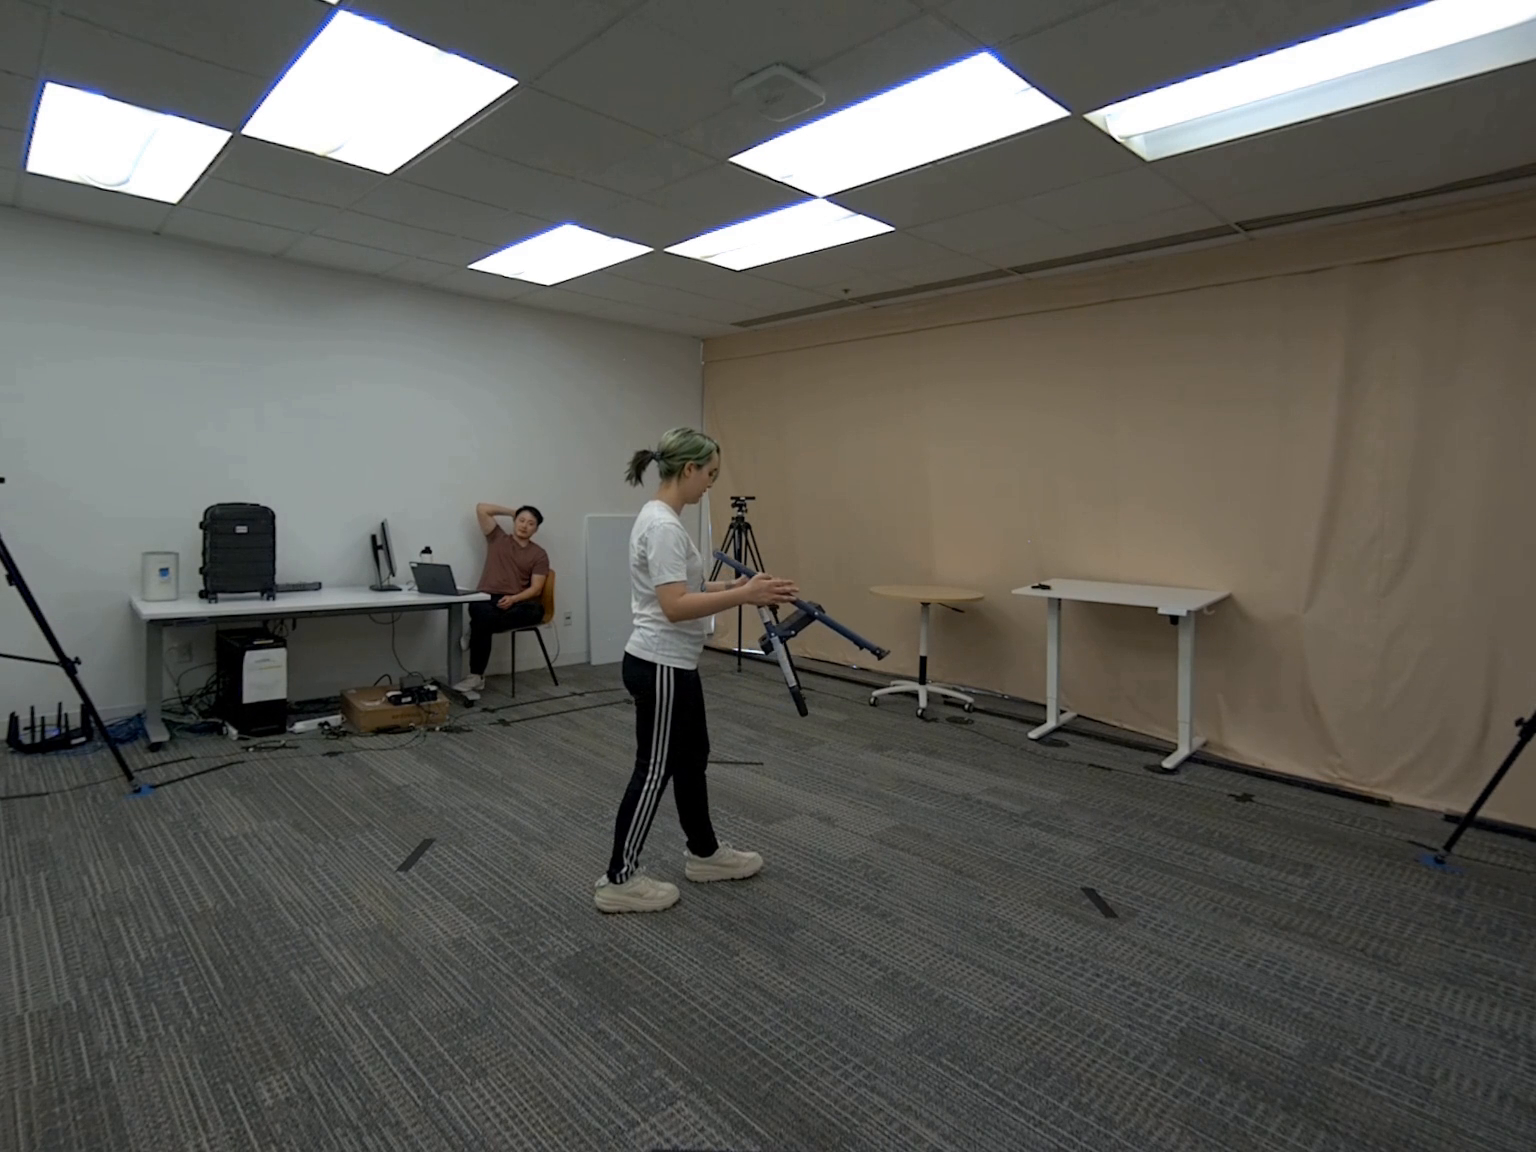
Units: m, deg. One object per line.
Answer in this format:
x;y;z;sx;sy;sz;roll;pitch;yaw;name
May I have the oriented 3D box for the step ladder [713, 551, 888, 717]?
0.058;0.116;2.914;0.349;0.607;0.430;-37;-1;-3;step ladder
